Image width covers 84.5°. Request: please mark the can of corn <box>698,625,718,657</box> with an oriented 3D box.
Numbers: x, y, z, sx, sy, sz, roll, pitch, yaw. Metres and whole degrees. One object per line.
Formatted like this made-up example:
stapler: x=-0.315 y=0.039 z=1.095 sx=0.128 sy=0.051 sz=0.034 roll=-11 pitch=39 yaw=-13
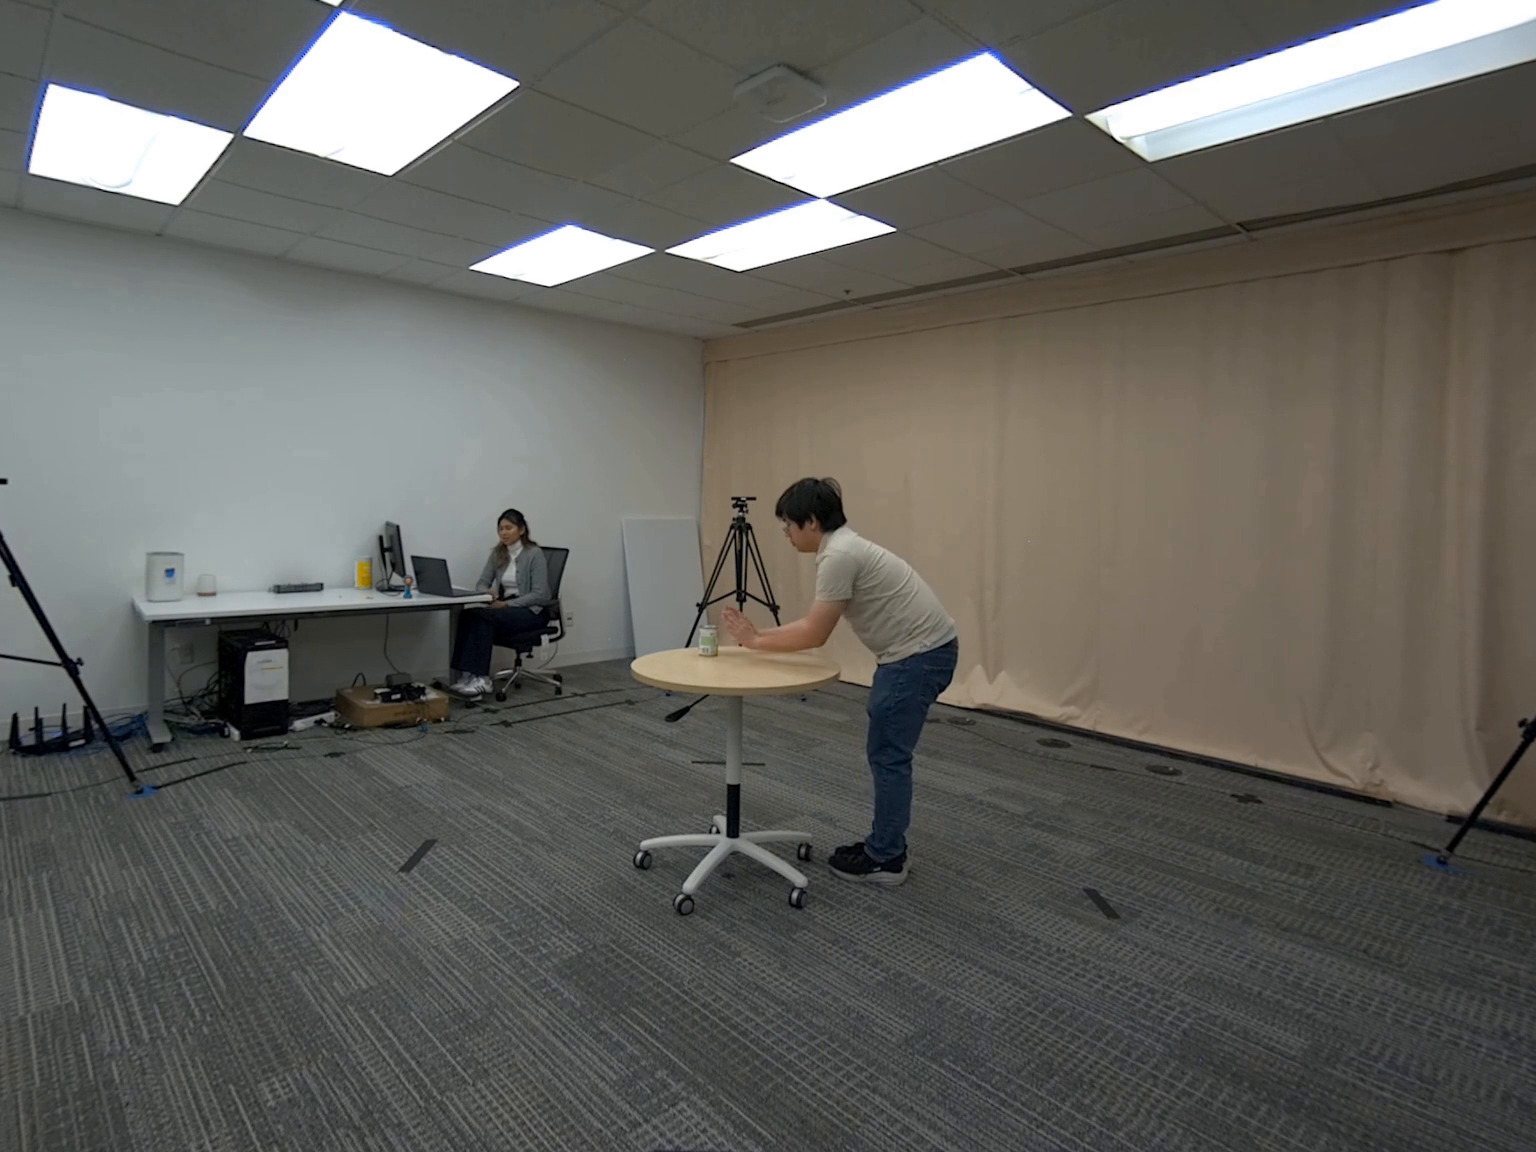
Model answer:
can of corn: x=-0.228 y=0.253 z=3.263 sx=0.074 sy=0.111 sz=0.074 roll=1 pitch=3 yaw=-1
